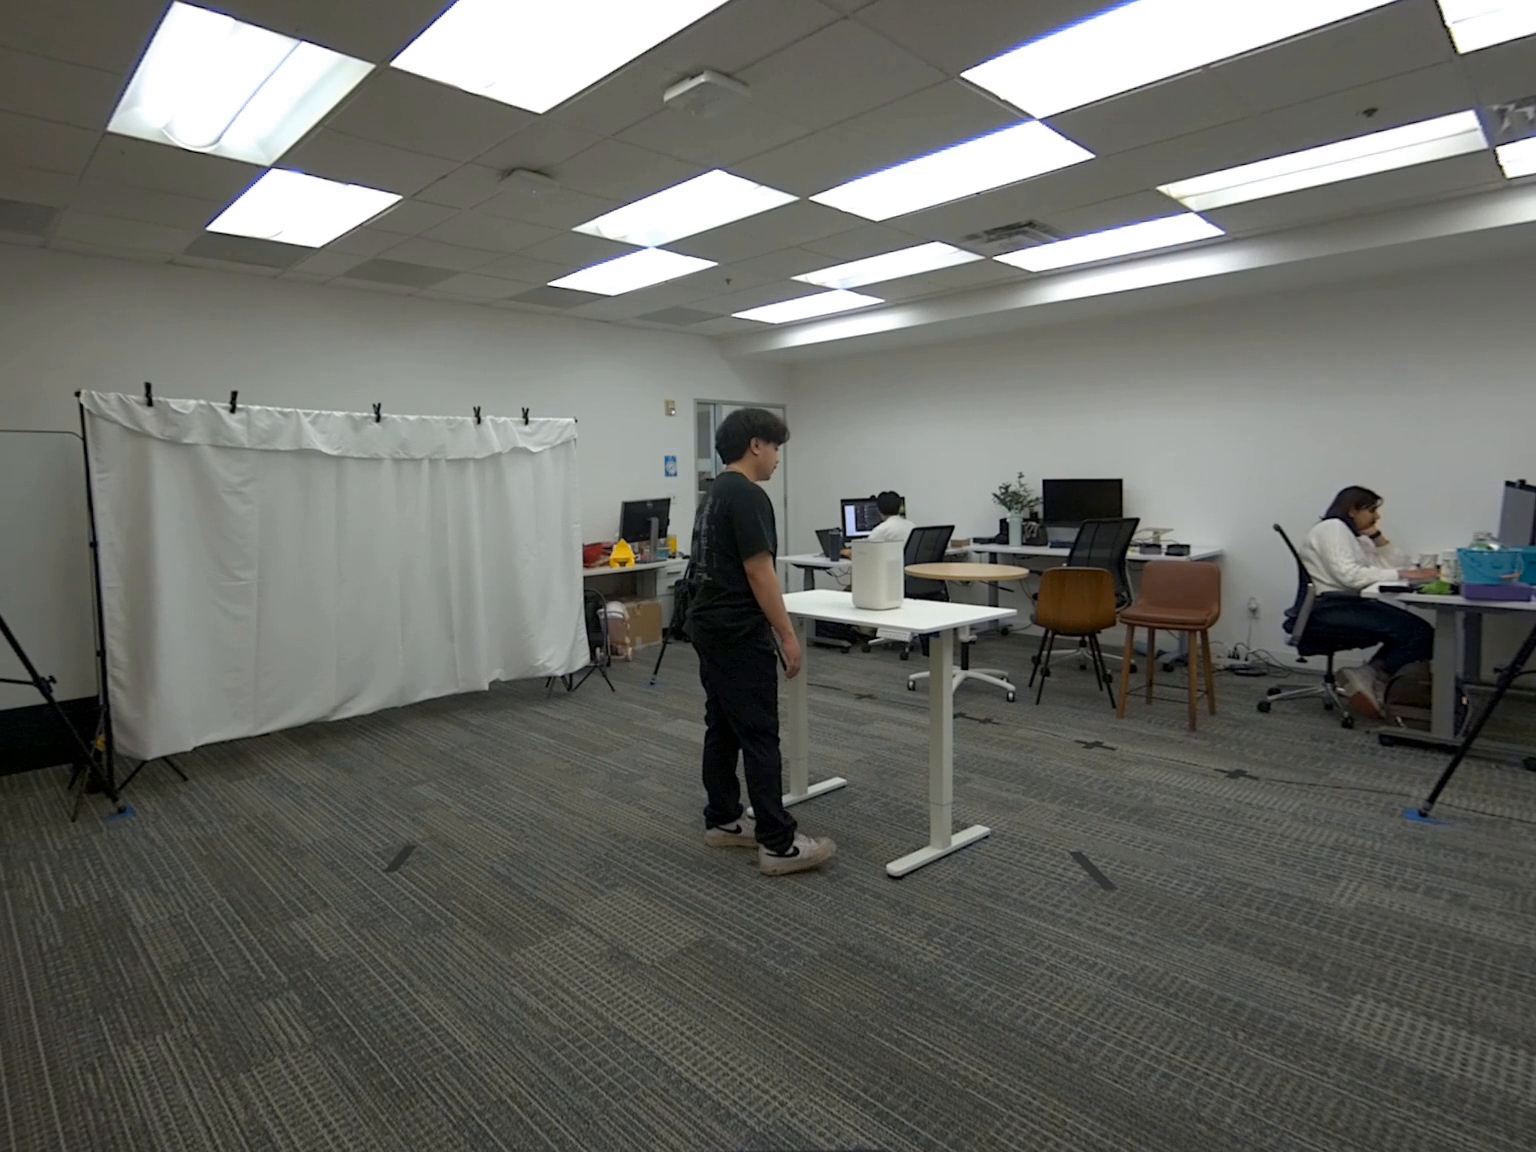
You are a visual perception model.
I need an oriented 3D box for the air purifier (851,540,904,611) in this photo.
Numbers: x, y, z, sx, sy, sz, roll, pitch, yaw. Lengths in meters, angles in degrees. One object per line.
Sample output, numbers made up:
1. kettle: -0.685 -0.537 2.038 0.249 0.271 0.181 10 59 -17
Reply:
1. air purifier: 0.425 -0.006 3.325 0.167 0.264 0.176 -4 5 -41
